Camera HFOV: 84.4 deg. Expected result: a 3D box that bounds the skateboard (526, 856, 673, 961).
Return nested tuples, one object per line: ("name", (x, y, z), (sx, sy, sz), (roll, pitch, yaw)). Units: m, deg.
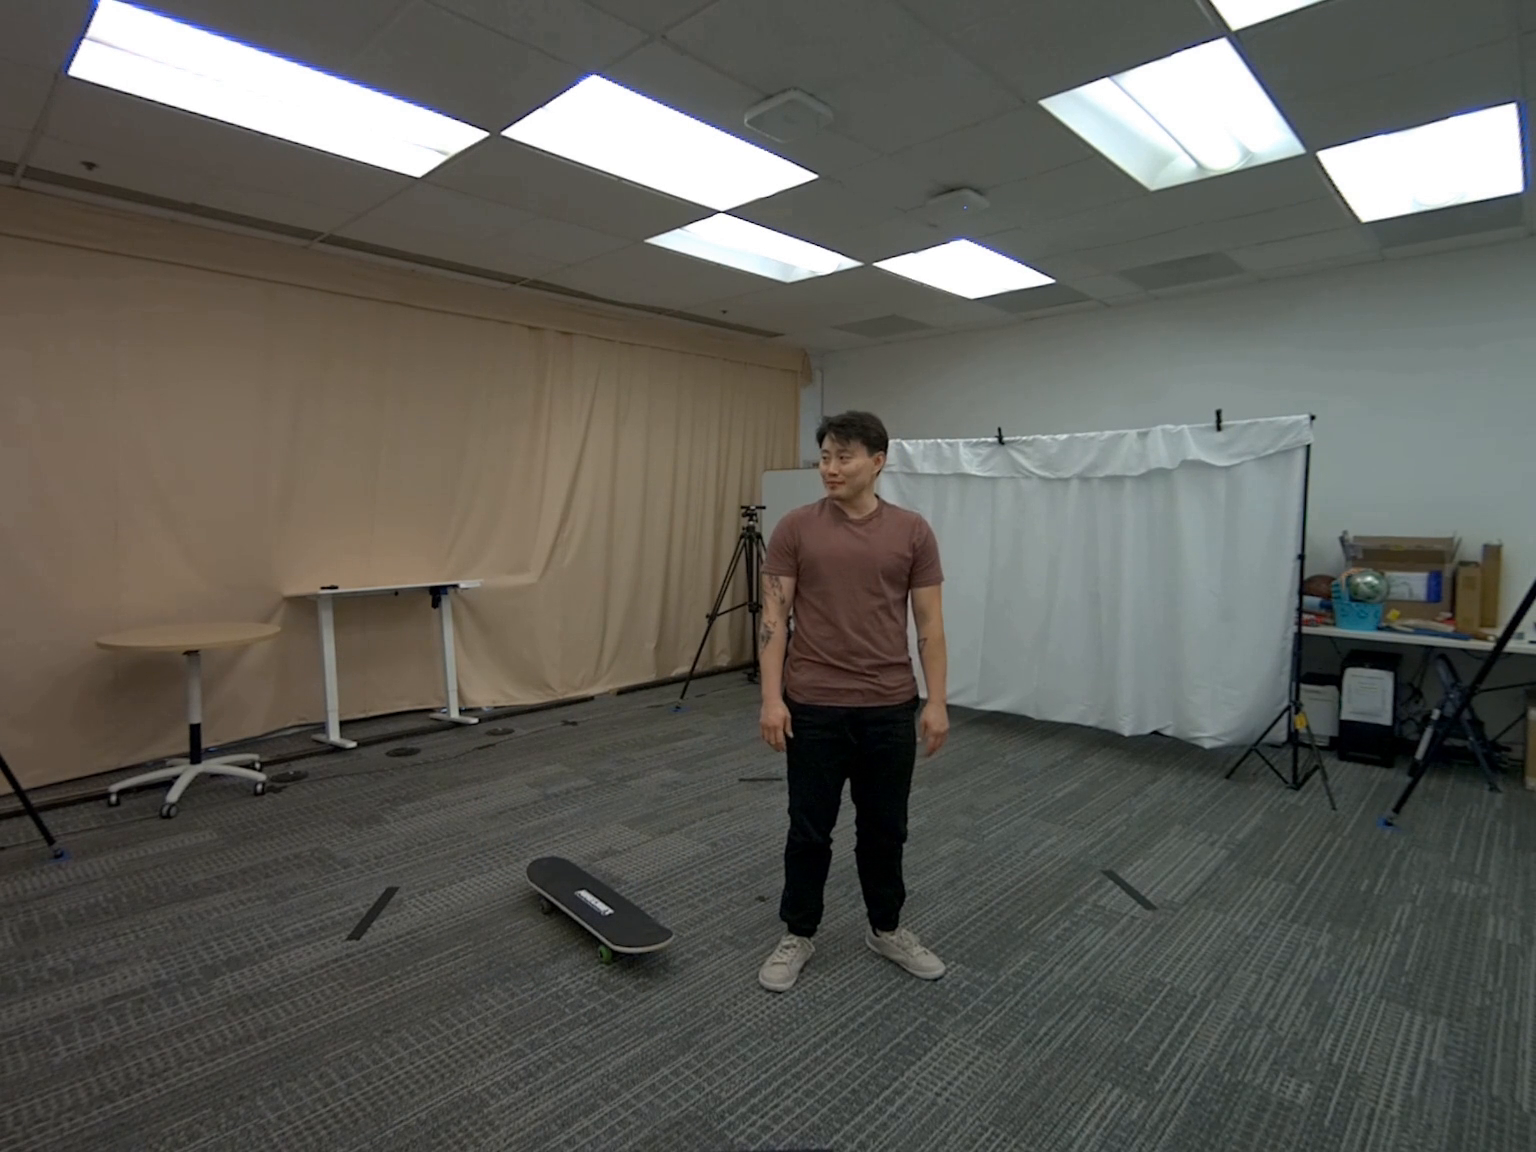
("skateboard", (-0.570, 1.108, 2.776), (0.187, 0.110, 0.811), (-4, 5, -40))
